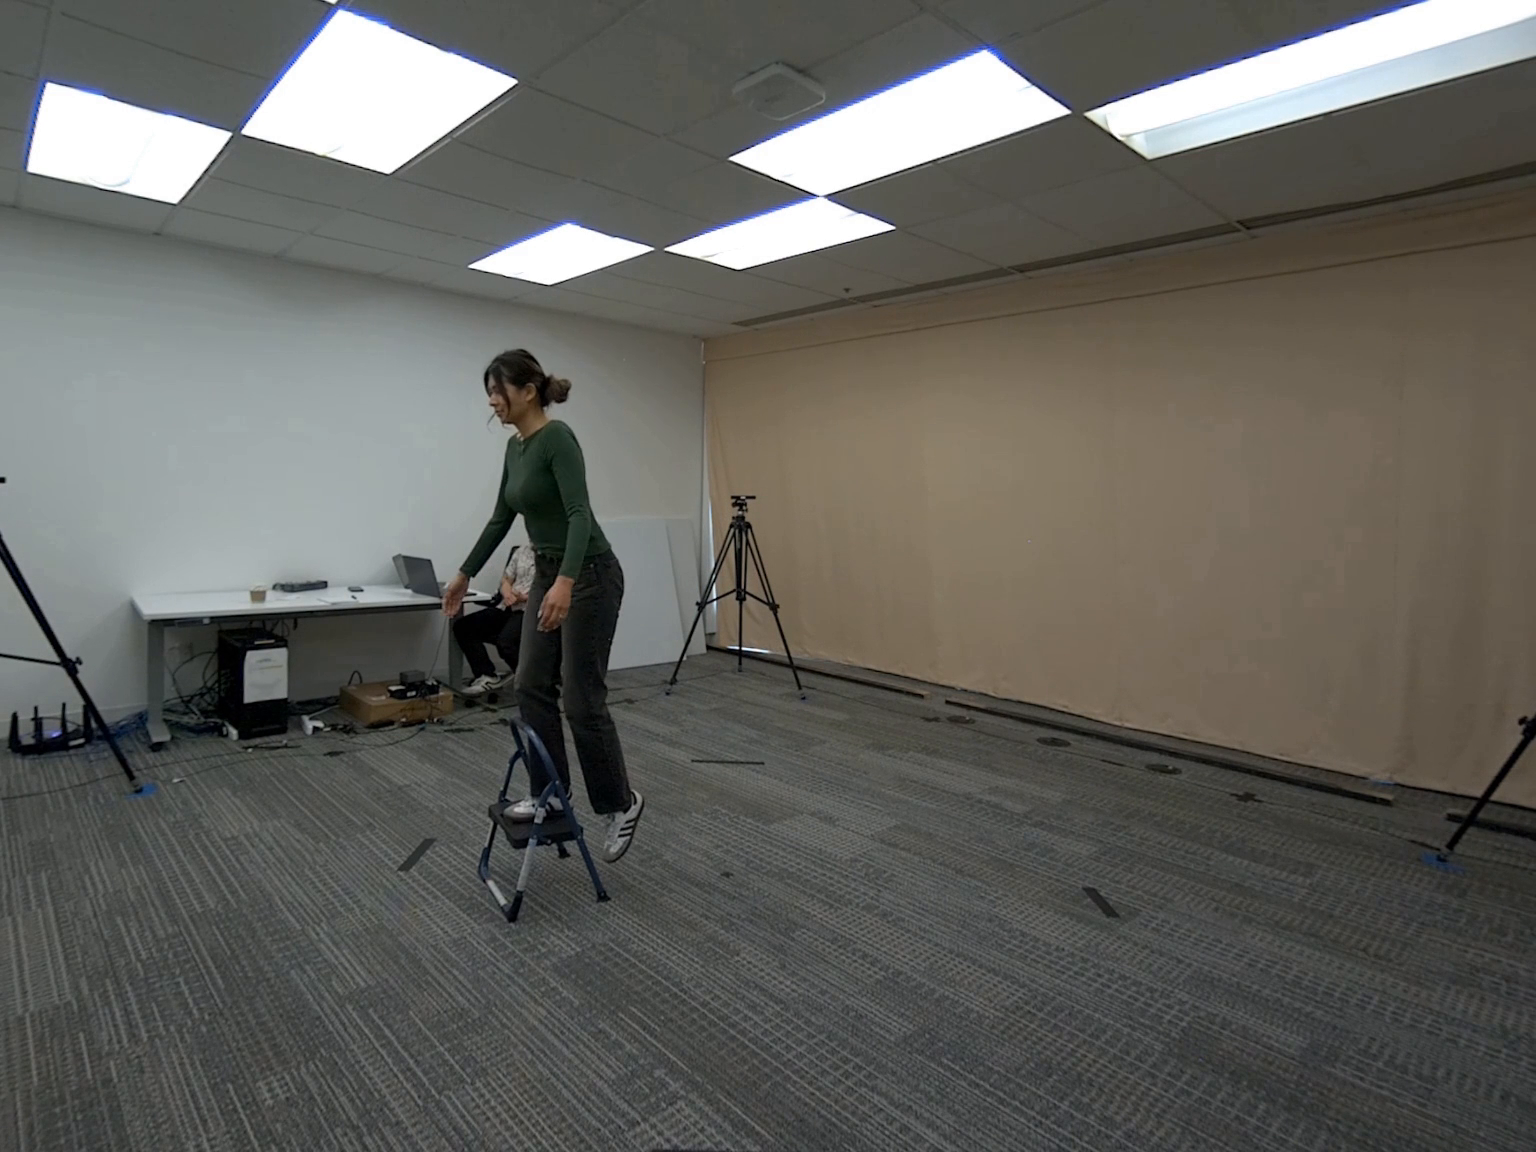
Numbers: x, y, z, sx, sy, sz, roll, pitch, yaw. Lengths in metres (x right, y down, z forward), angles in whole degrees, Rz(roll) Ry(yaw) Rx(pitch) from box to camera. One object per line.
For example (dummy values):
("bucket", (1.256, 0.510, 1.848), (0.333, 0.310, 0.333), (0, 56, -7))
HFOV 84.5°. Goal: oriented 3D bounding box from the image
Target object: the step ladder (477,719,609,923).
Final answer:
("step ladder", (-0.803, 0.800, 2.959), (0.342, 0.604, 0.441), (-1, 4, -33))
